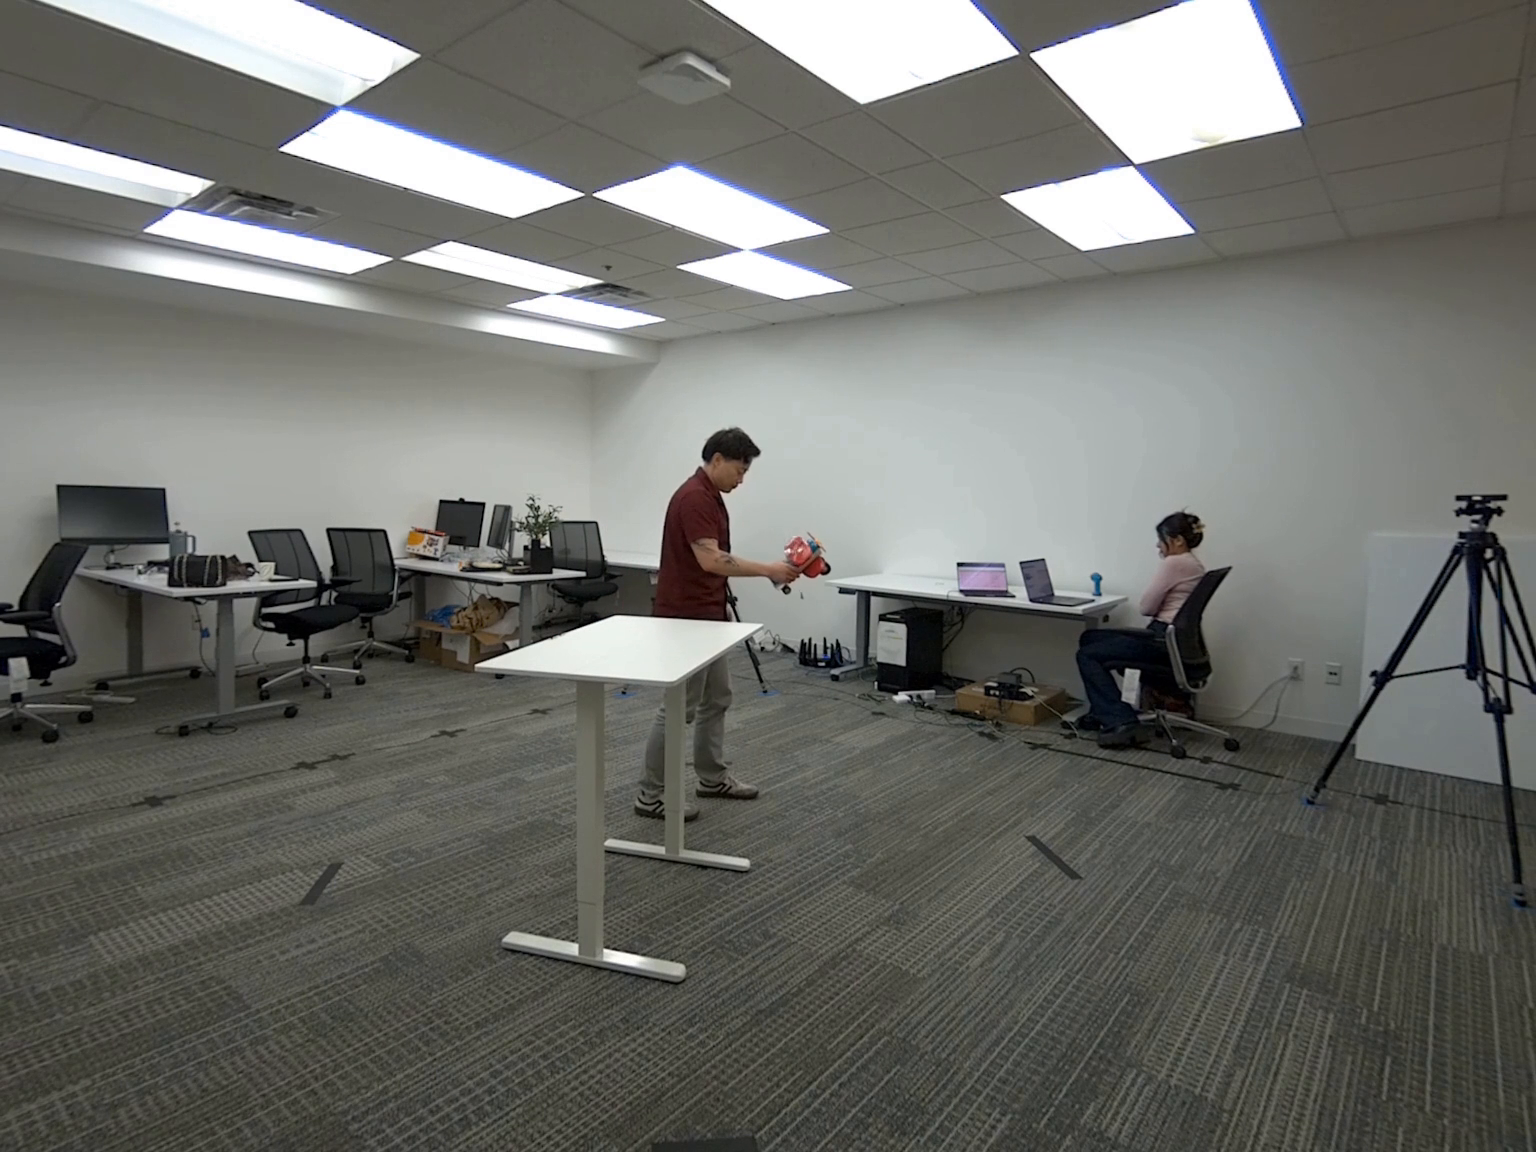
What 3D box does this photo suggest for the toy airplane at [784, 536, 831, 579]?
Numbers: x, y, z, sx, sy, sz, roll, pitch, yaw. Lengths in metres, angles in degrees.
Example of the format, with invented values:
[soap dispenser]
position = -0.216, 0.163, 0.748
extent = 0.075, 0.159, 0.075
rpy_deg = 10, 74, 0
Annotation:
[toy airplane]
position = 0.119, -0.036, 3.486
extent = 0.258, 0.152, 0.259
rpy_deg = -41, 24, -25
